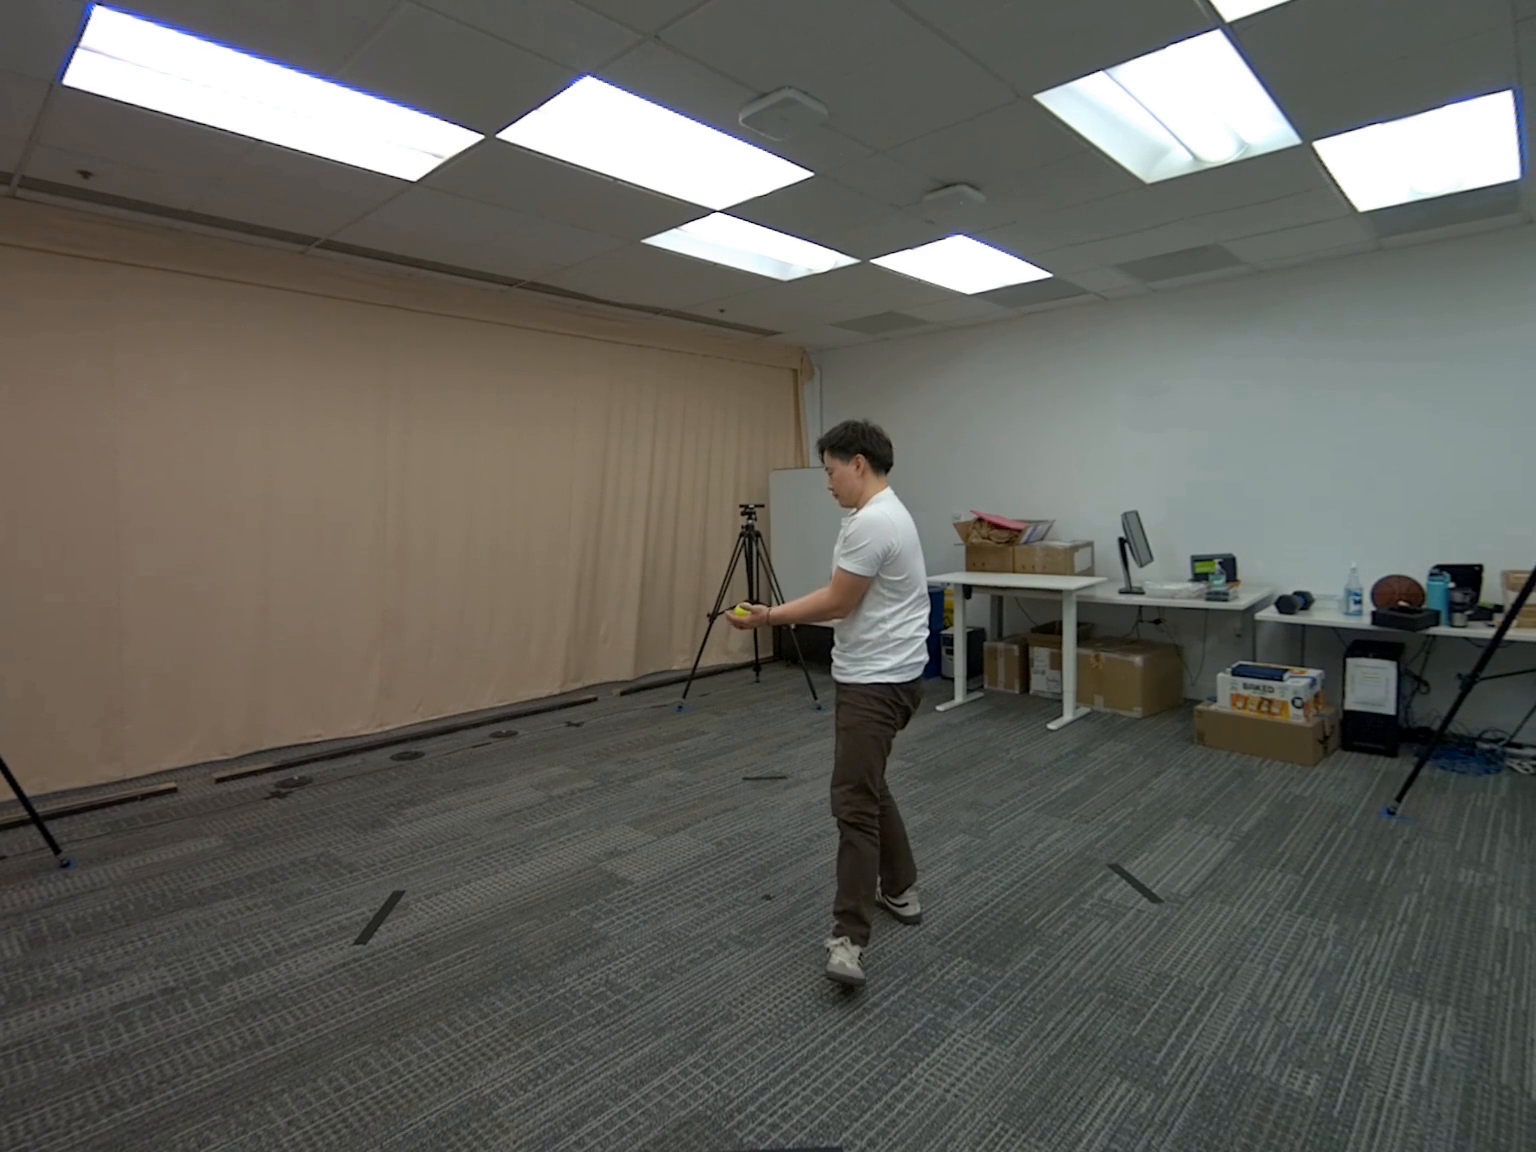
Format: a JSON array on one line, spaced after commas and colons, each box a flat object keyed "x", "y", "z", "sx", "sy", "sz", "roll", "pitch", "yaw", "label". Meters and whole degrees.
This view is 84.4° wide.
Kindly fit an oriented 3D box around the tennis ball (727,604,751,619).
[{"x": -0.091, "y": 0.117, "z": 2.724, "sx": 0.066, "sy": 0.066, "sz": 0.067, "roll": -1, "pitch": 4, "yaw": -2, "label": "tennis ball"}]
